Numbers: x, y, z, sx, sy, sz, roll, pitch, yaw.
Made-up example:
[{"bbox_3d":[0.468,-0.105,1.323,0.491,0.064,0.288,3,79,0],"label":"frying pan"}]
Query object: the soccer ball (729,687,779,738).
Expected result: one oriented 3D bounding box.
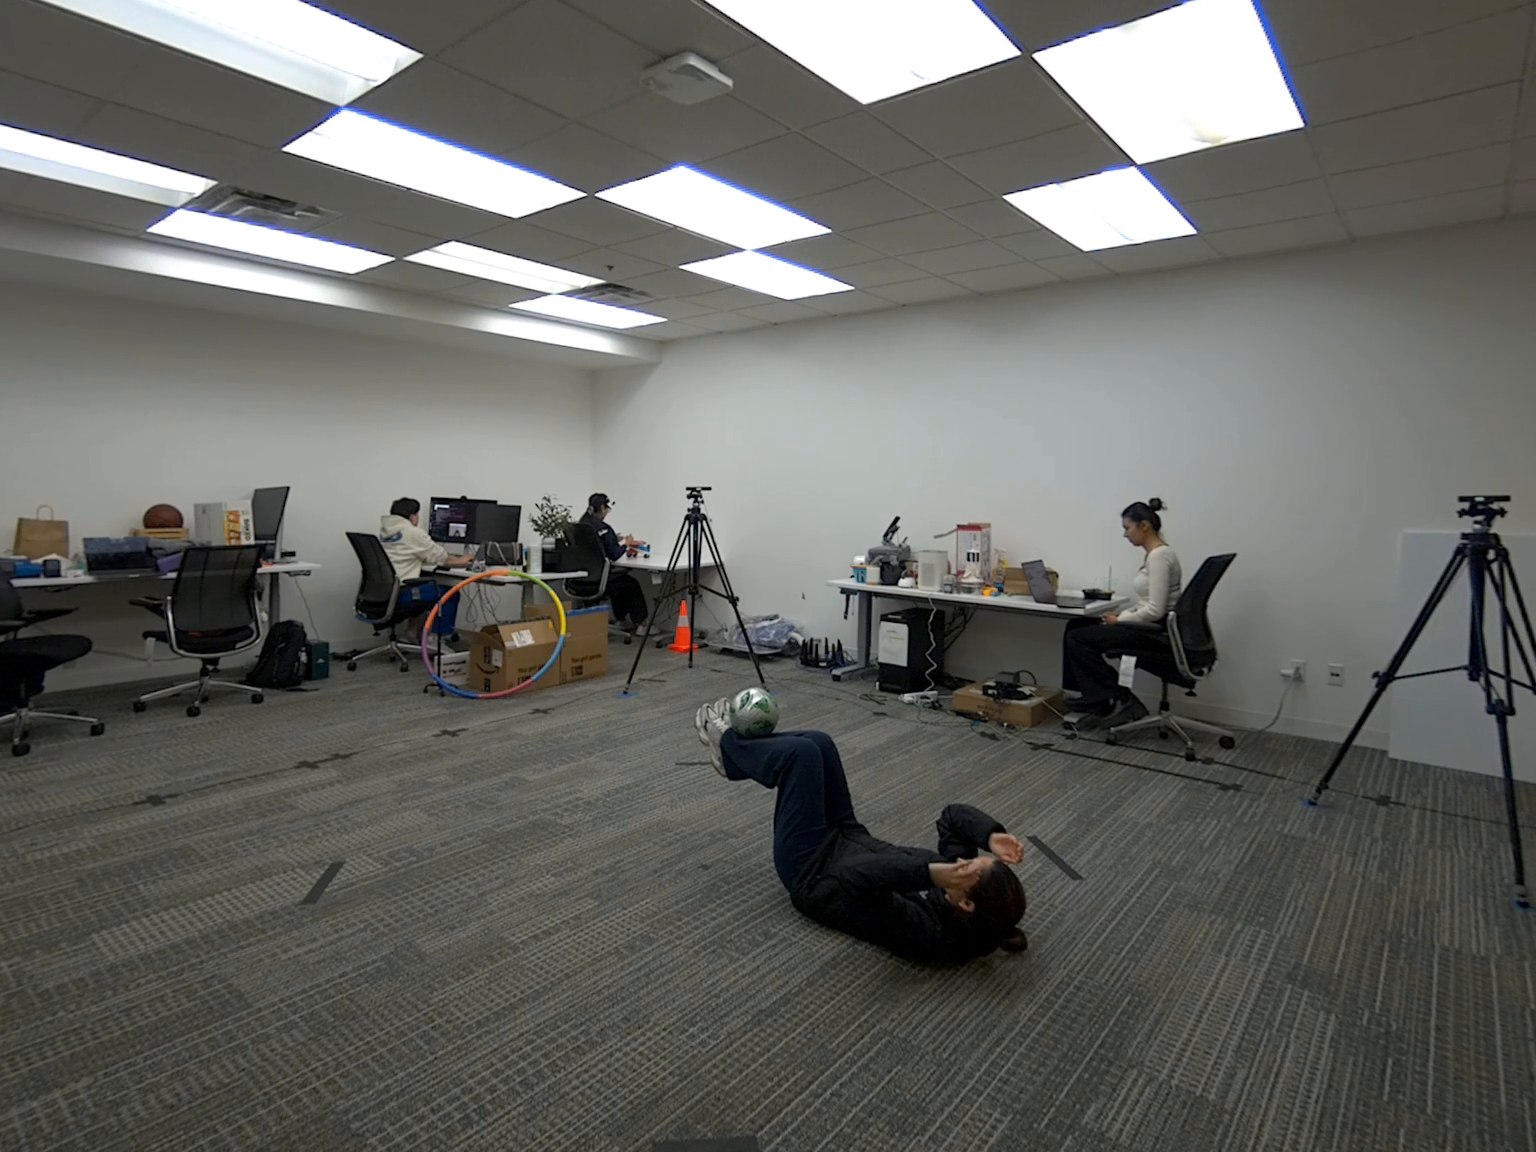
[{"bbox_3d":[-0.061,0.503,3.138,0.187,0.187,0.188,-3,3,-2],"label":"soccer ball"}]
